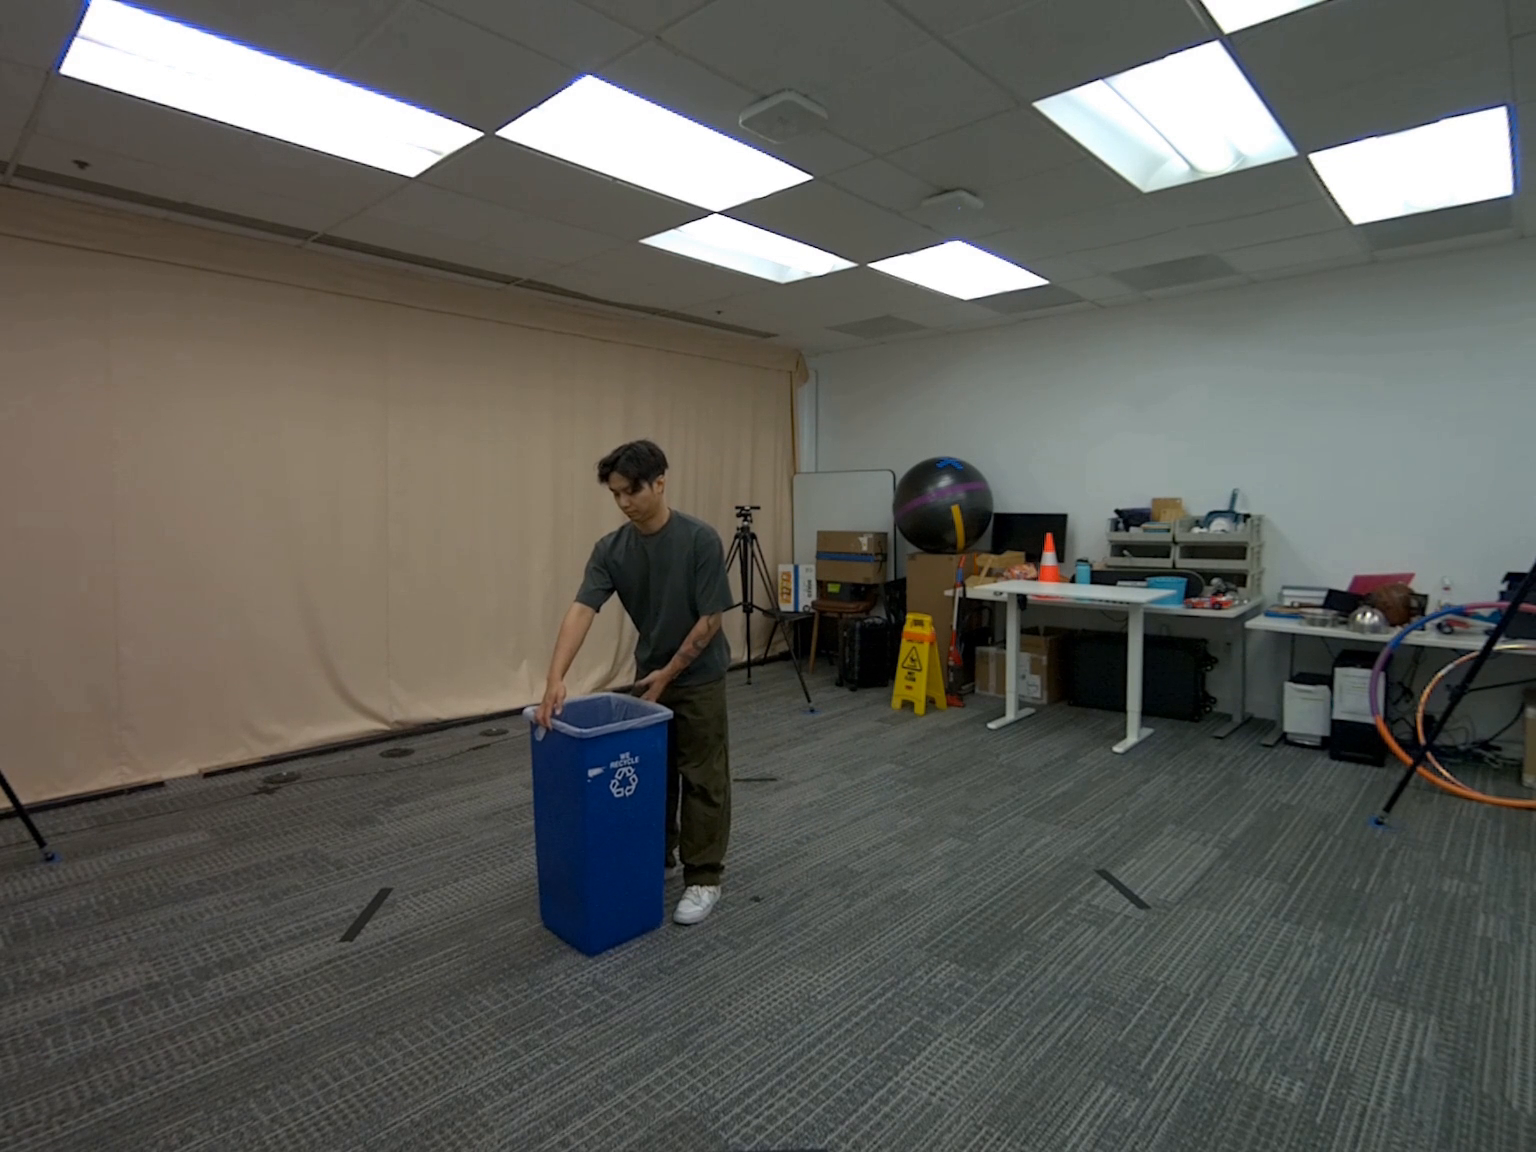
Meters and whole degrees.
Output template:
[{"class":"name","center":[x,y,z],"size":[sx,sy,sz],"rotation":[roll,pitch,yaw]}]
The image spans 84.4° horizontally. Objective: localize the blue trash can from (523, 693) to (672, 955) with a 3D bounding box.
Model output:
[{"class":"blue trash can","center":[-0.554,0.791,2.782],"size":[0.363,0.711,0.391],"rotation":[-5,7,-44]}]
